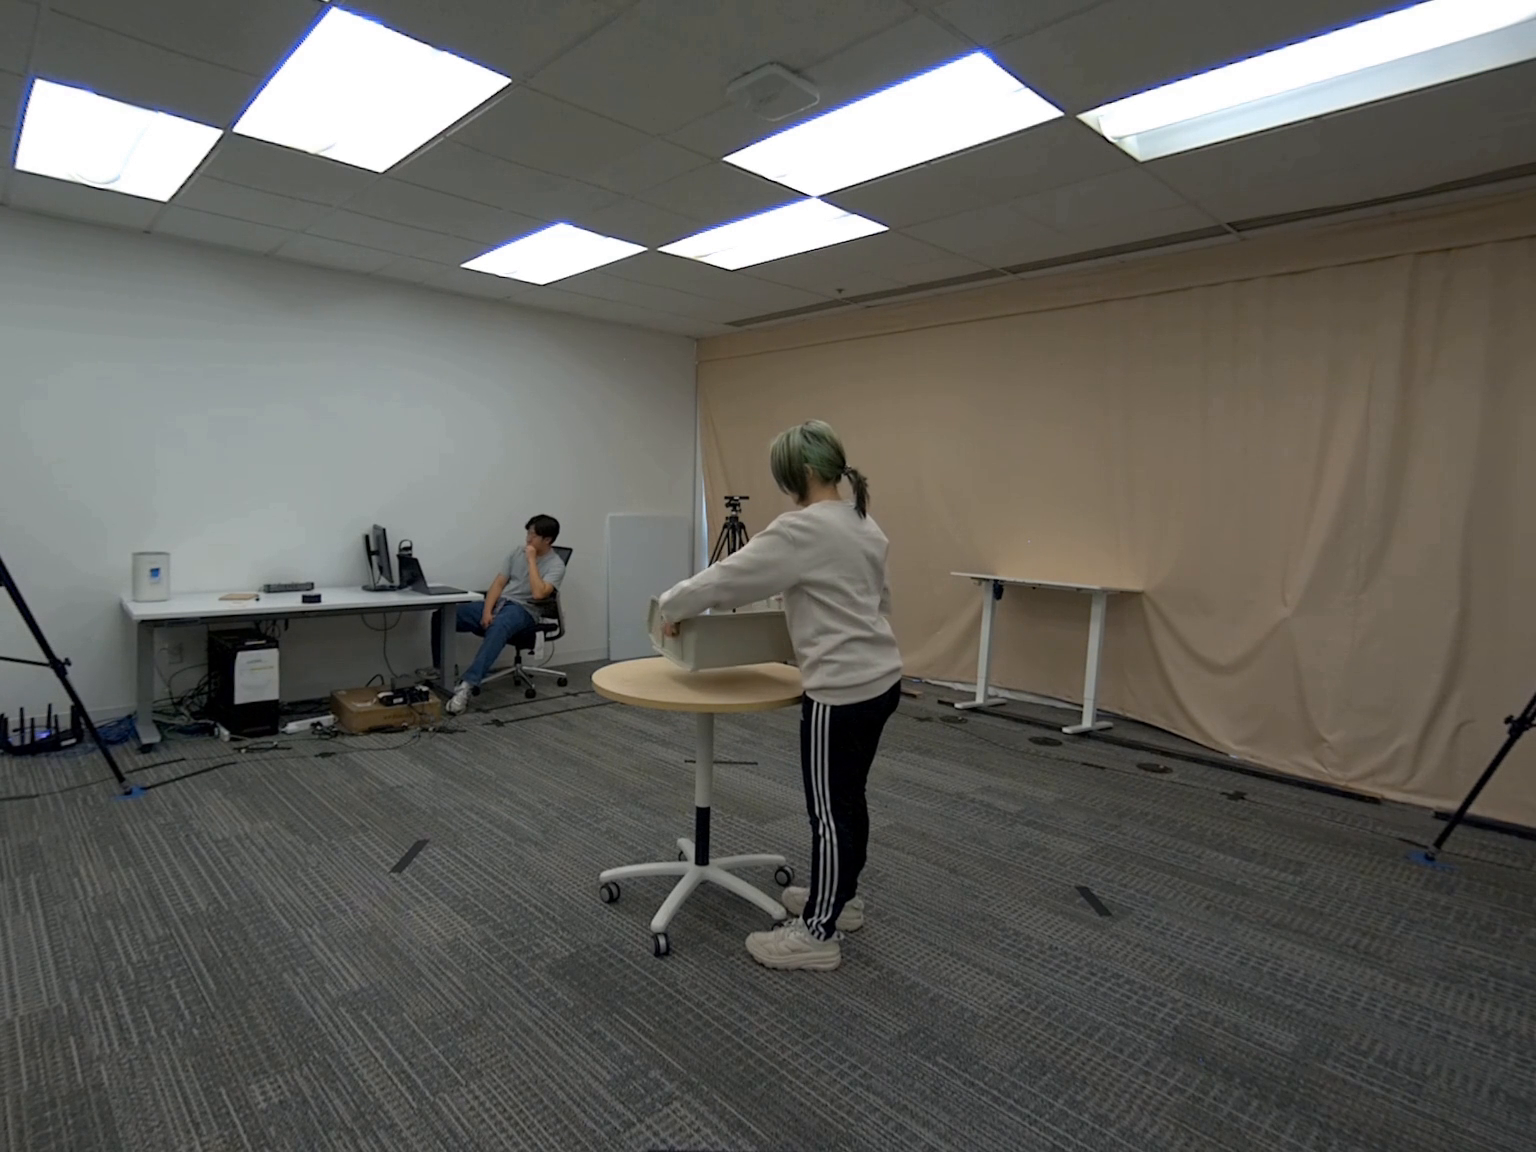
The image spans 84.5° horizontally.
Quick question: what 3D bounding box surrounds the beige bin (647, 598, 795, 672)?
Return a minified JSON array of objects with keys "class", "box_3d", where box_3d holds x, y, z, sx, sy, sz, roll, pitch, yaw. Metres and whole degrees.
[{"class":"beige bin","box_3d":[-0.149,0.179,2.804,0.415,0.188,0.386,-1,10,-26]}]
